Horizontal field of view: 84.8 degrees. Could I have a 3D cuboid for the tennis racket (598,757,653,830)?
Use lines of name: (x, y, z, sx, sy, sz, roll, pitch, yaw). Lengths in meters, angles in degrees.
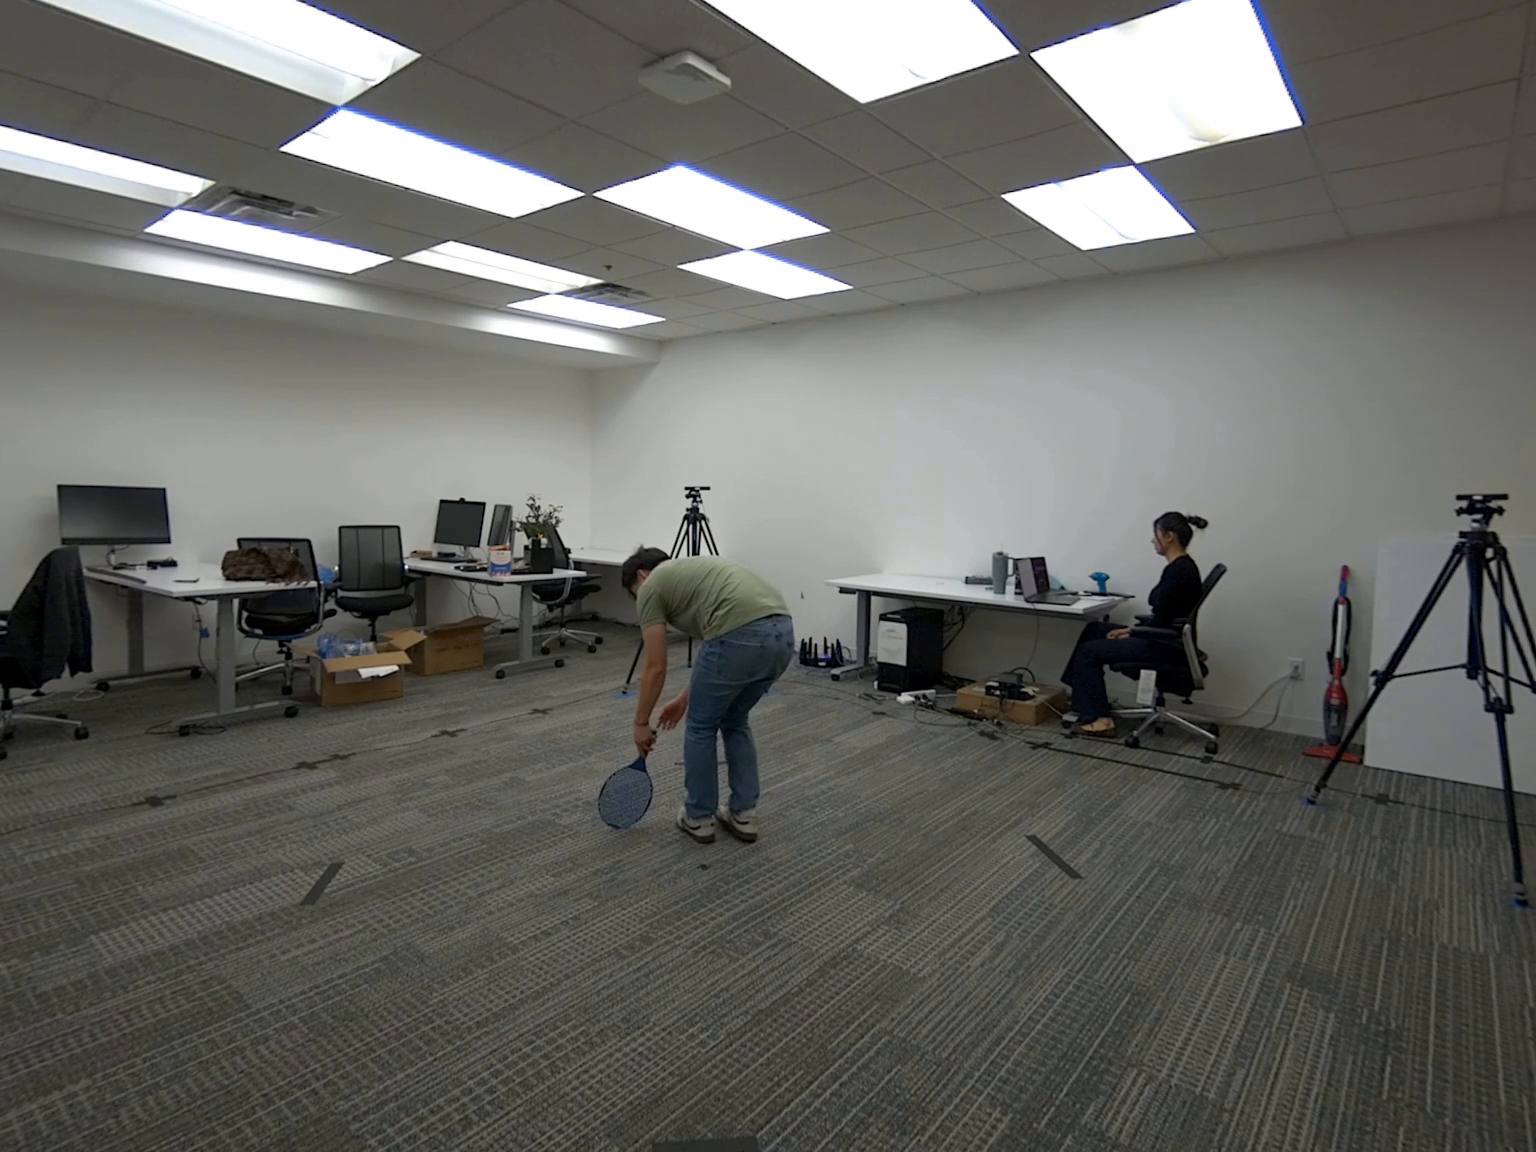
tennis racket: (-0.561, 0.823, 3.457, 0.211, 0.432, 0.032, 19, 3, -10)
